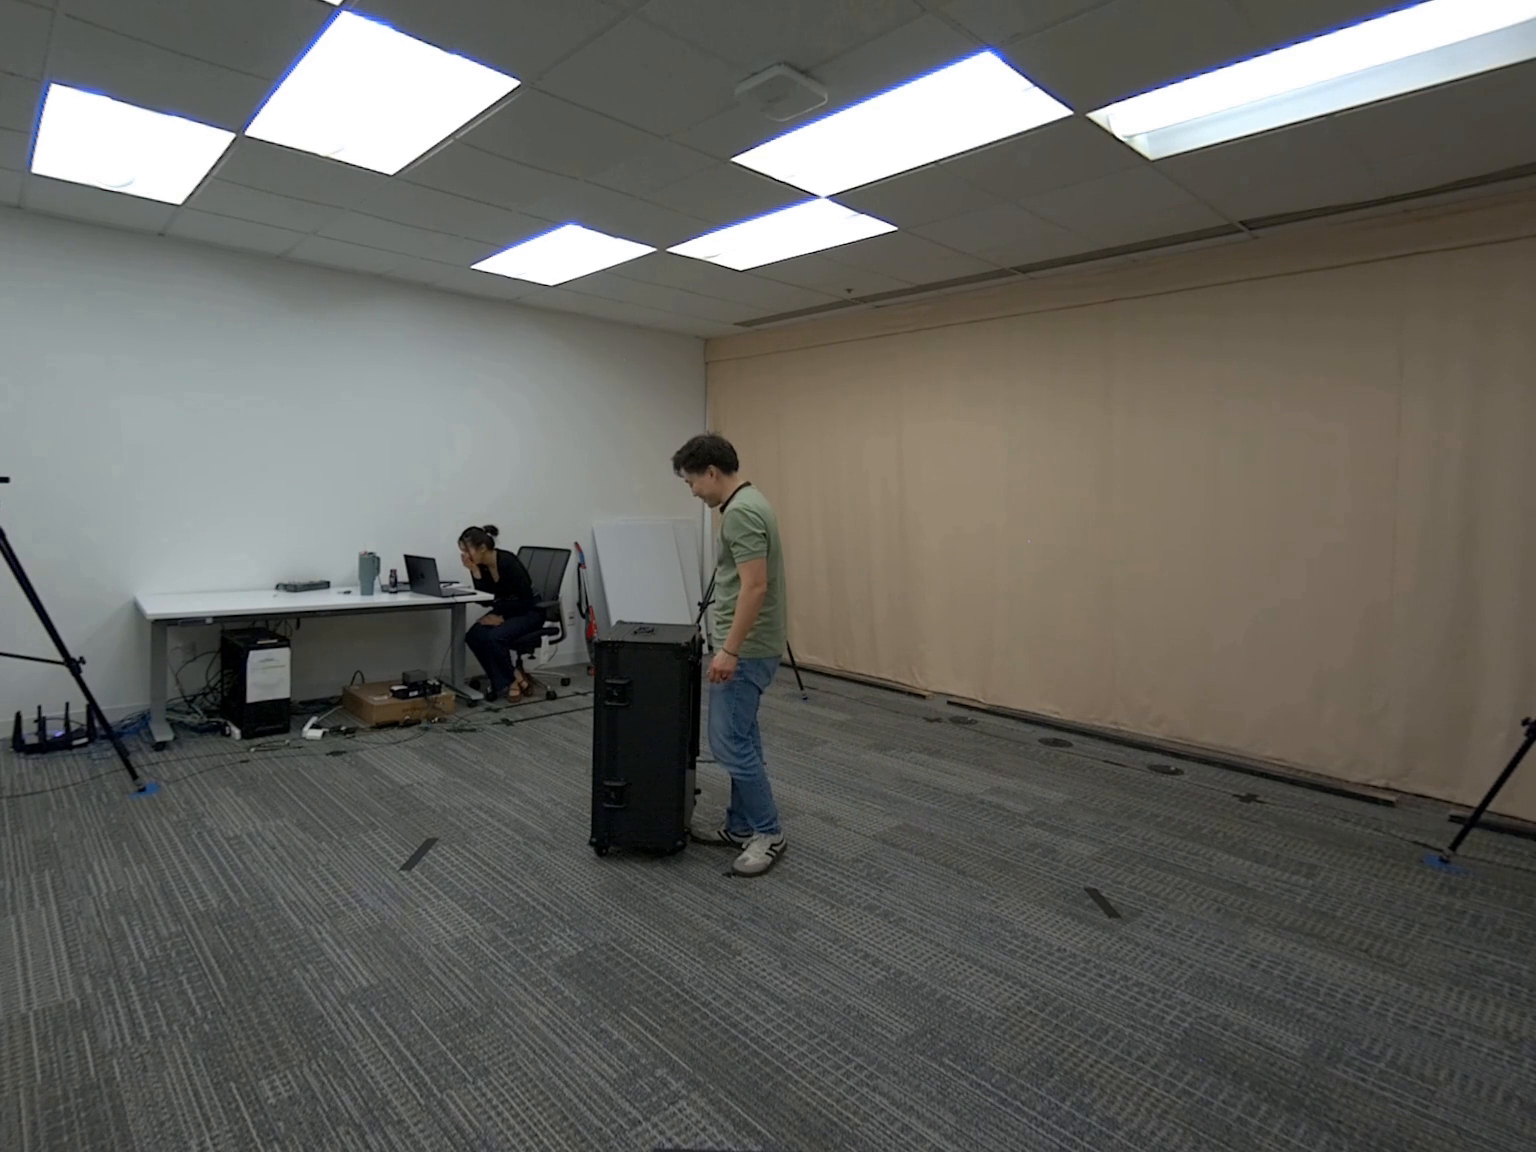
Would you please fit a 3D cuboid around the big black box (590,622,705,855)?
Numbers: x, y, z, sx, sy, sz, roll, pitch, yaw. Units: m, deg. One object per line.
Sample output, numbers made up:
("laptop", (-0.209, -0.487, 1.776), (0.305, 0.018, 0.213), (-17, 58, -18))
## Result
("big black box", (-0.477, 0.646, 3.375), (0.397, 0.859, 0.521), (2, 3, 2))
